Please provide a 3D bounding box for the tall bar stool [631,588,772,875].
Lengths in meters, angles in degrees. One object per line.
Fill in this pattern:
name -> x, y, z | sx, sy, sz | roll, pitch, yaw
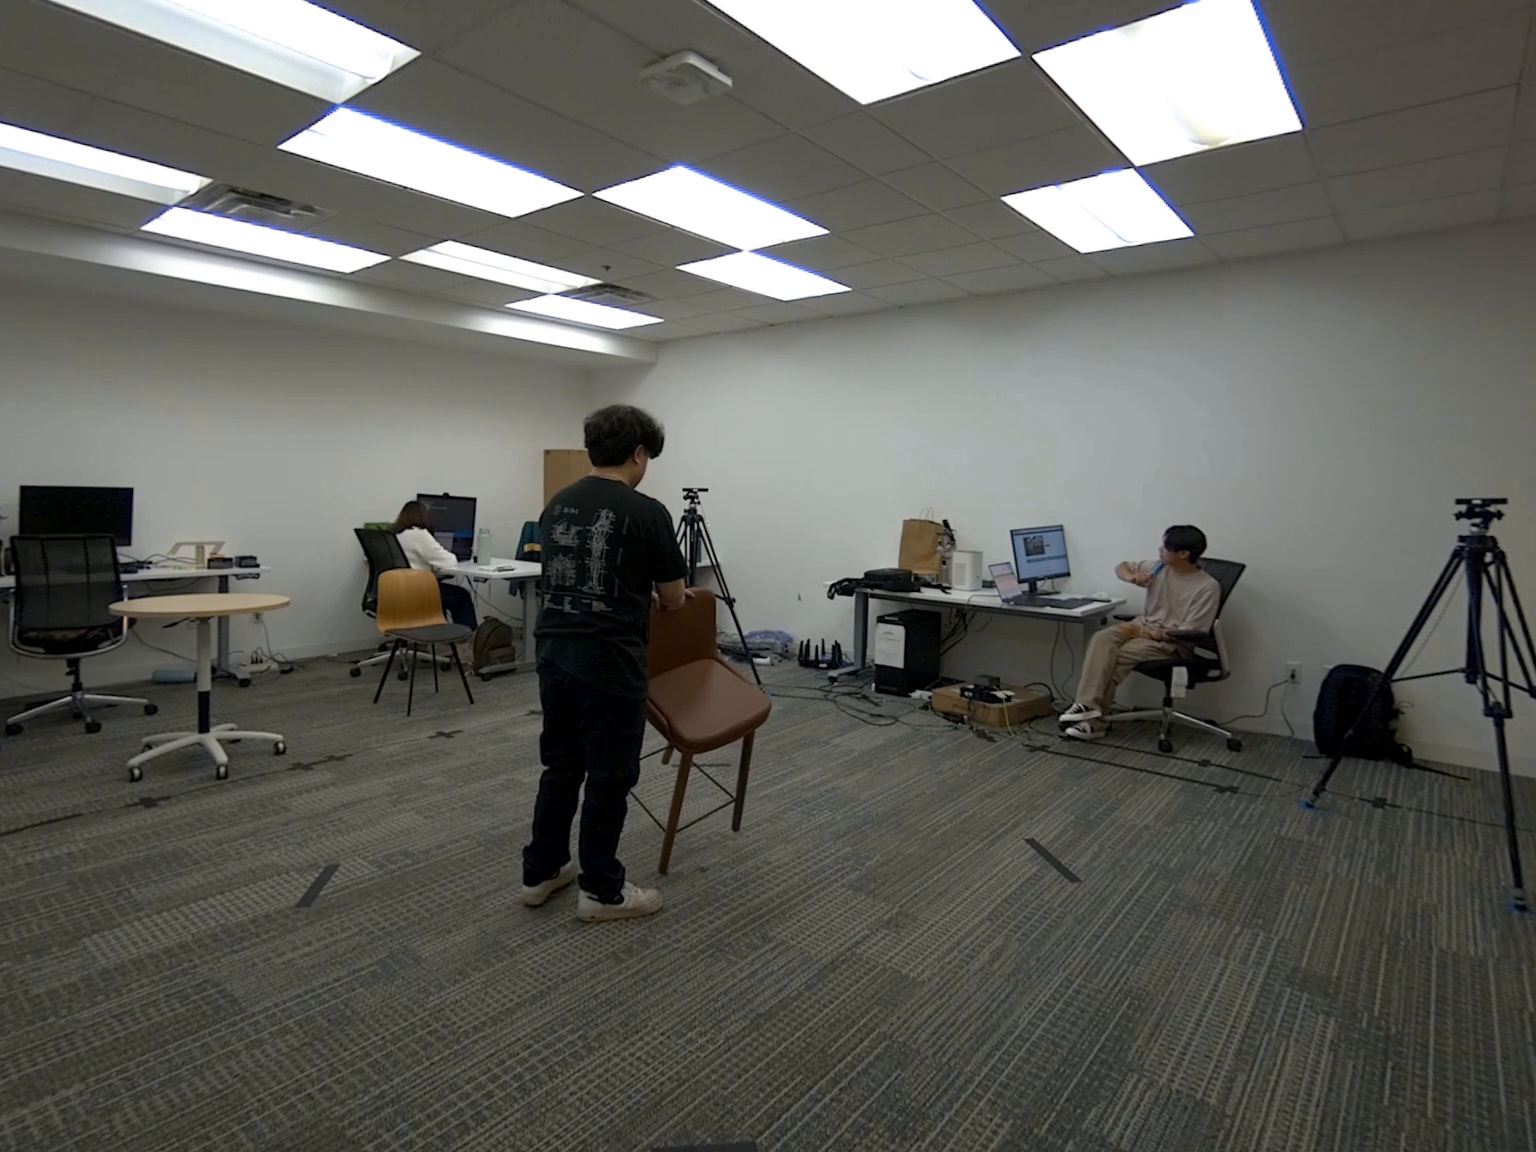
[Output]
tall bar stool -> -0.307, 0.550, 3.144 | 0.487, 0.876, 0.445 | 33, 31, 34
